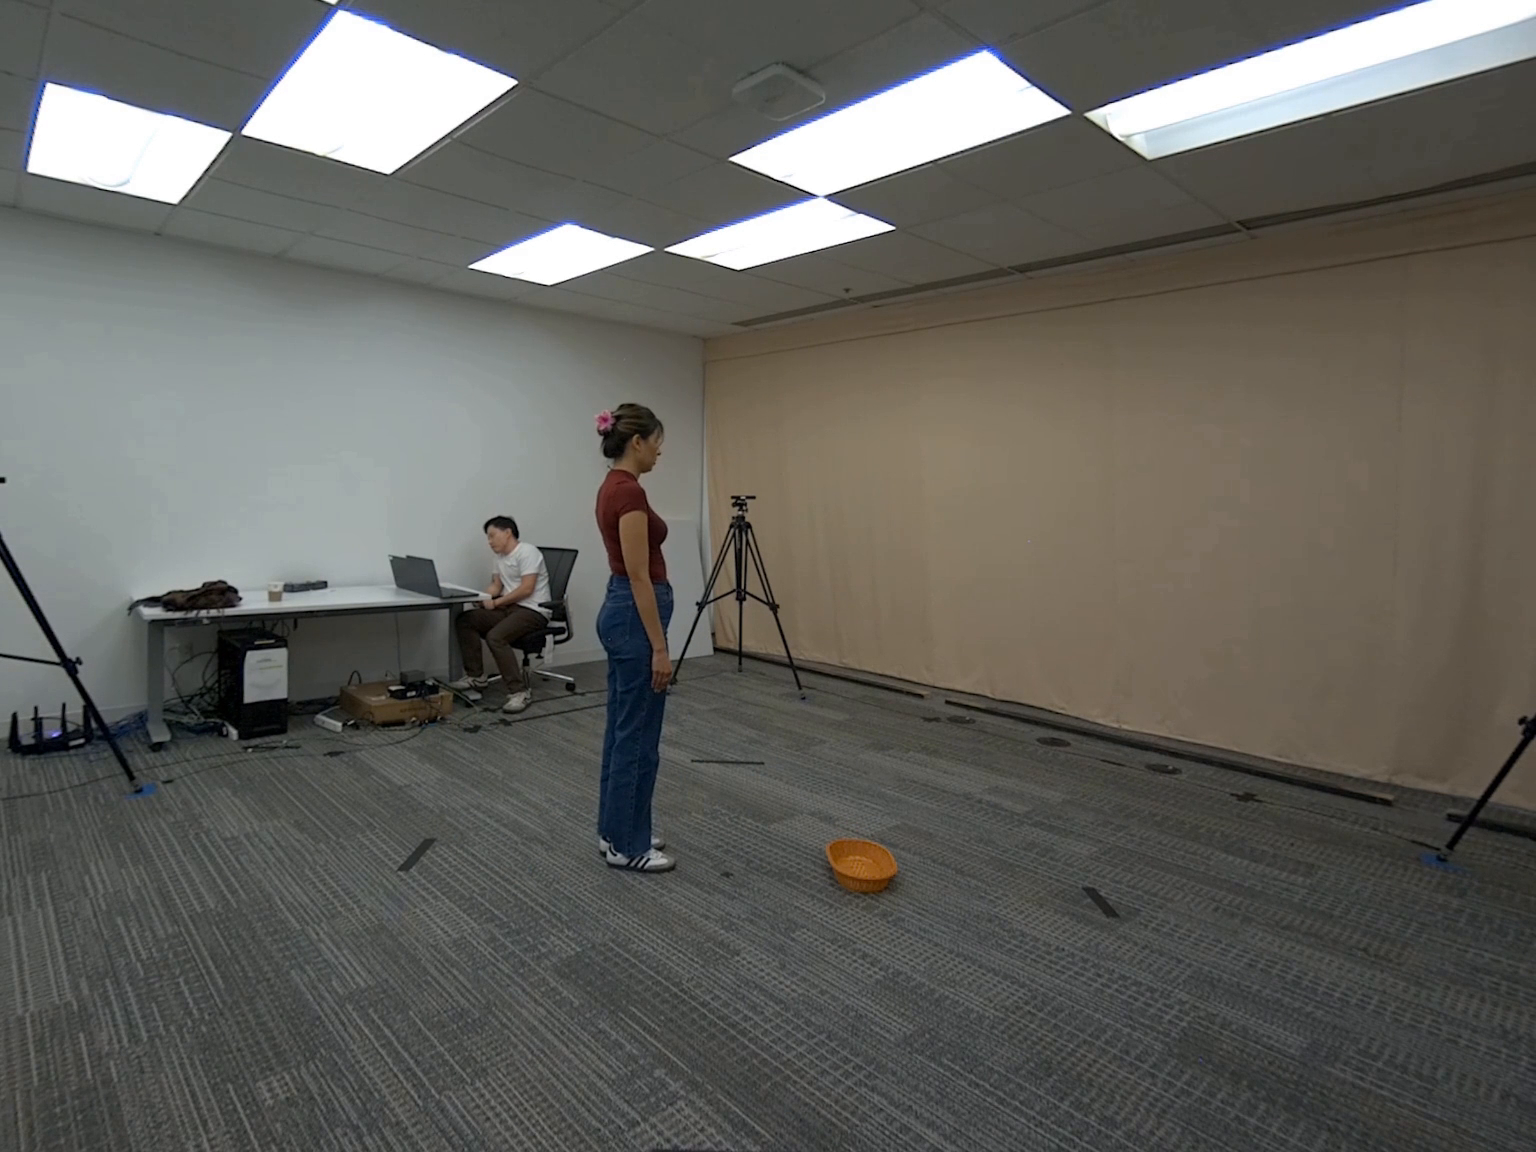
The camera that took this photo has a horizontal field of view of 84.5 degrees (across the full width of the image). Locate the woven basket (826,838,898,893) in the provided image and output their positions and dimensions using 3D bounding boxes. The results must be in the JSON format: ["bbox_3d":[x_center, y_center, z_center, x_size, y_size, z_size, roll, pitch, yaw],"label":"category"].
[{"bbox_3d":[0.330,1.070,3.114,0.252,0.073,0.352,2,5,-4],"label":"woven basket"}]
